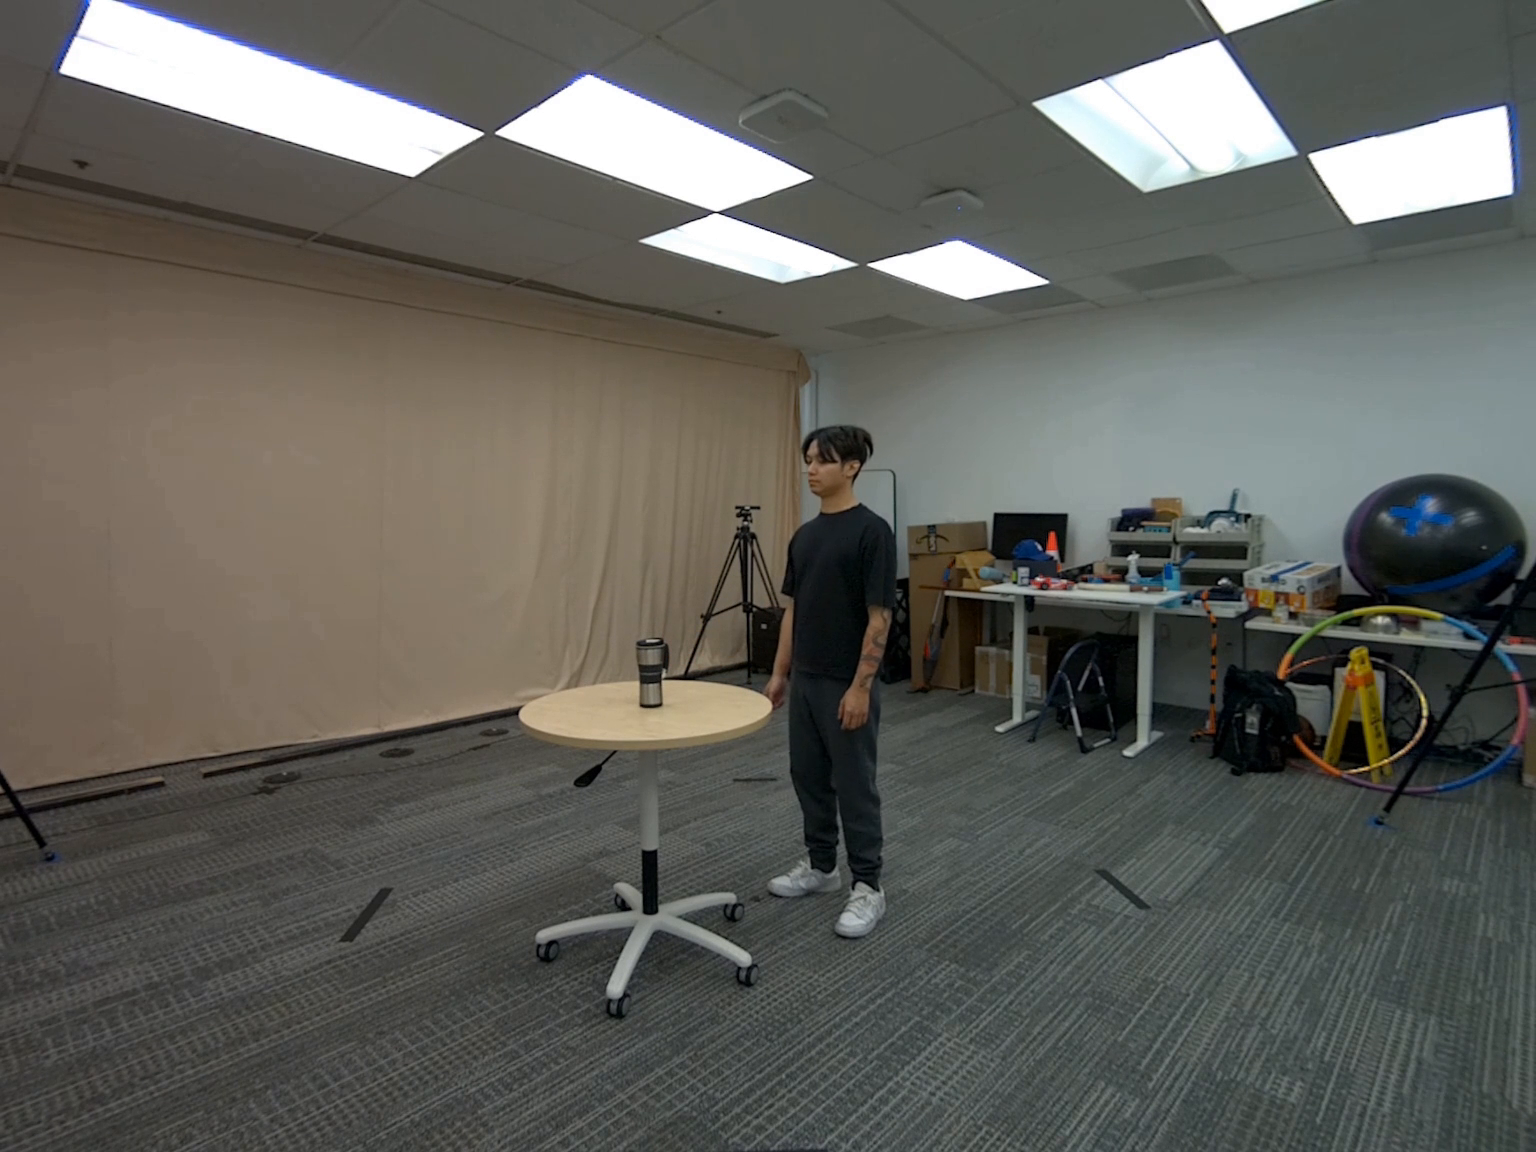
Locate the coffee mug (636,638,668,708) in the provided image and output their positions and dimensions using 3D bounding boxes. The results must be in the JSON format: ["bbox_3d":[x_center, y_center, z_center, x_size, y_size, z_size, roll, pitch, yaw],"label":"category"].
[{"bbox_3d":[-0.337,0.297,2.587,0.118,0.203,0.090,-7,1,-35],"label":"coffee mug"}]
